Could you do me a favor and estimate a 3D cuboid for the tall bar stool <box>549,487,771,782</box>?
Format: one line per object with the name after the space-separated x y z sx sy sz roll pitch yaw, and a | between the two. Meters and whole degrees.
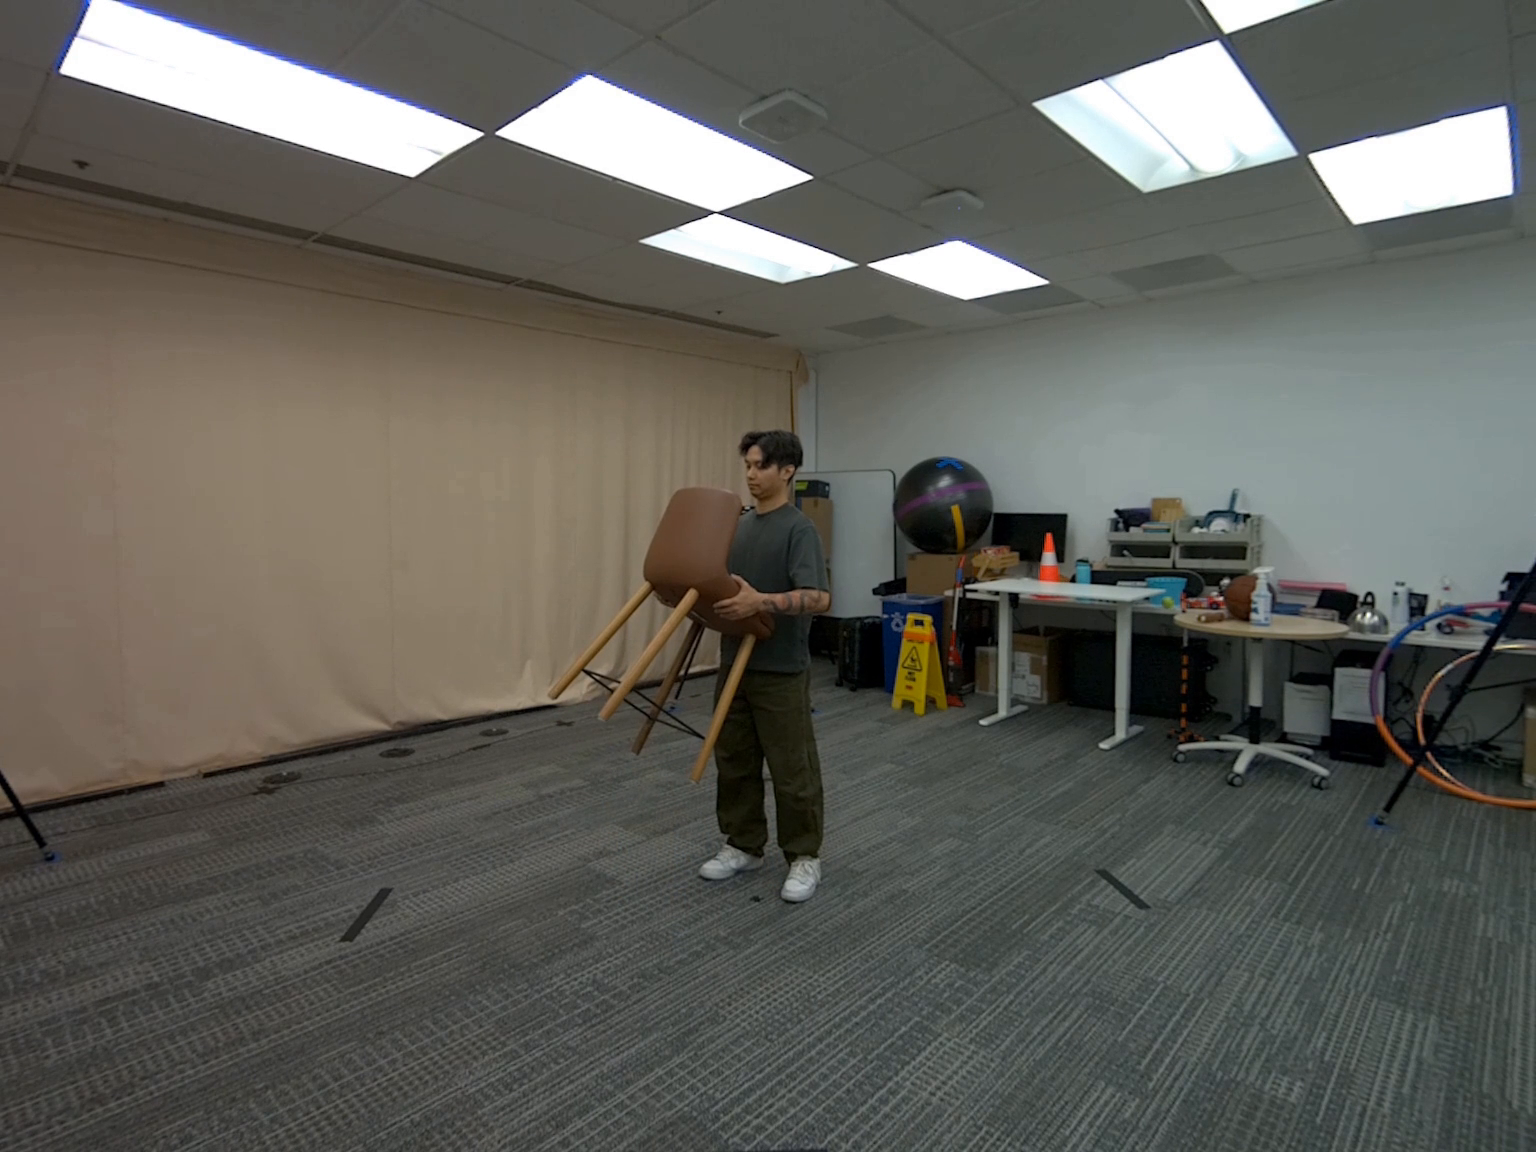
-0.286 0.186 2.954 0.452 0.890 0.471 39 -21 -33 | tall bar stool
